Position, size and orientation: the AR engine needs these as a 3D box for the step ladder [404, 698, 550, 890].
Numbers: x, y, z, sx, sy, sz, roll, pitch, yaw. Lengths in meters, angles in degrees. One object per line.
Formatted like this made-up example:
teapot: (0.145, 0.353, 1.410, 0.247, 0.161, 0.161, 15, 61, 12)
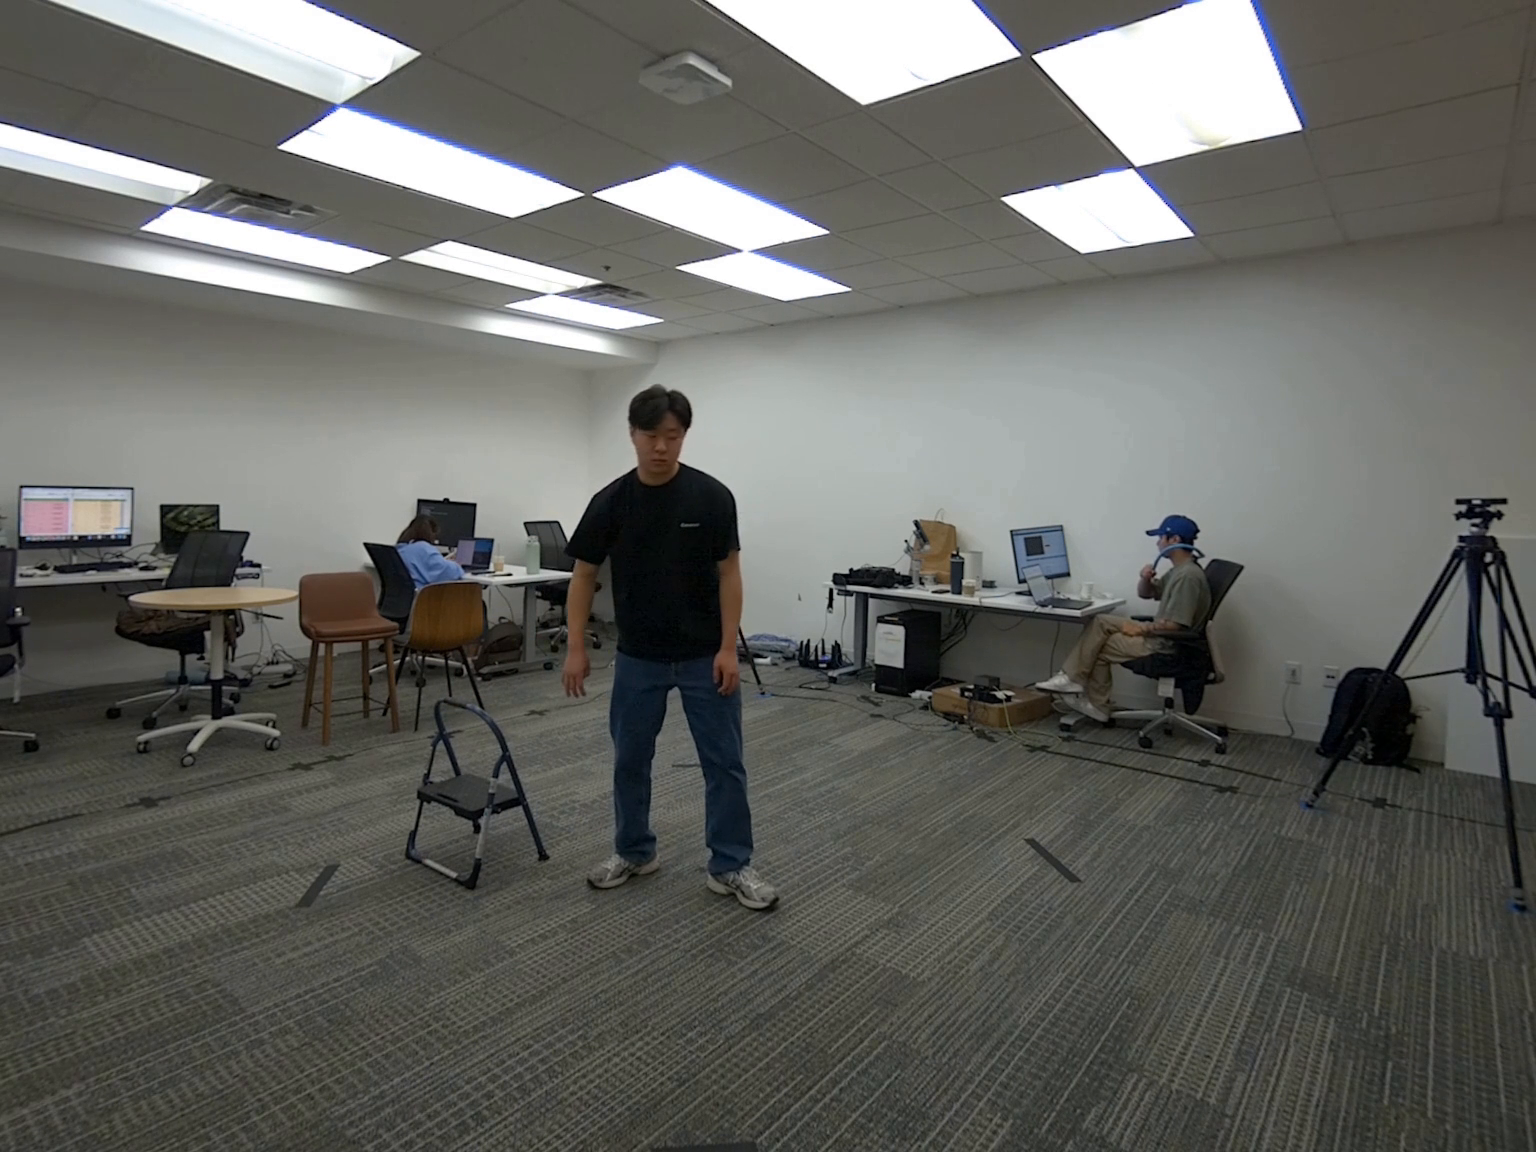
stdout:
step ladder: (-1.093, 0.748, 3.157, 0.444, 0.604, 0.339, 4, 4, 35)
